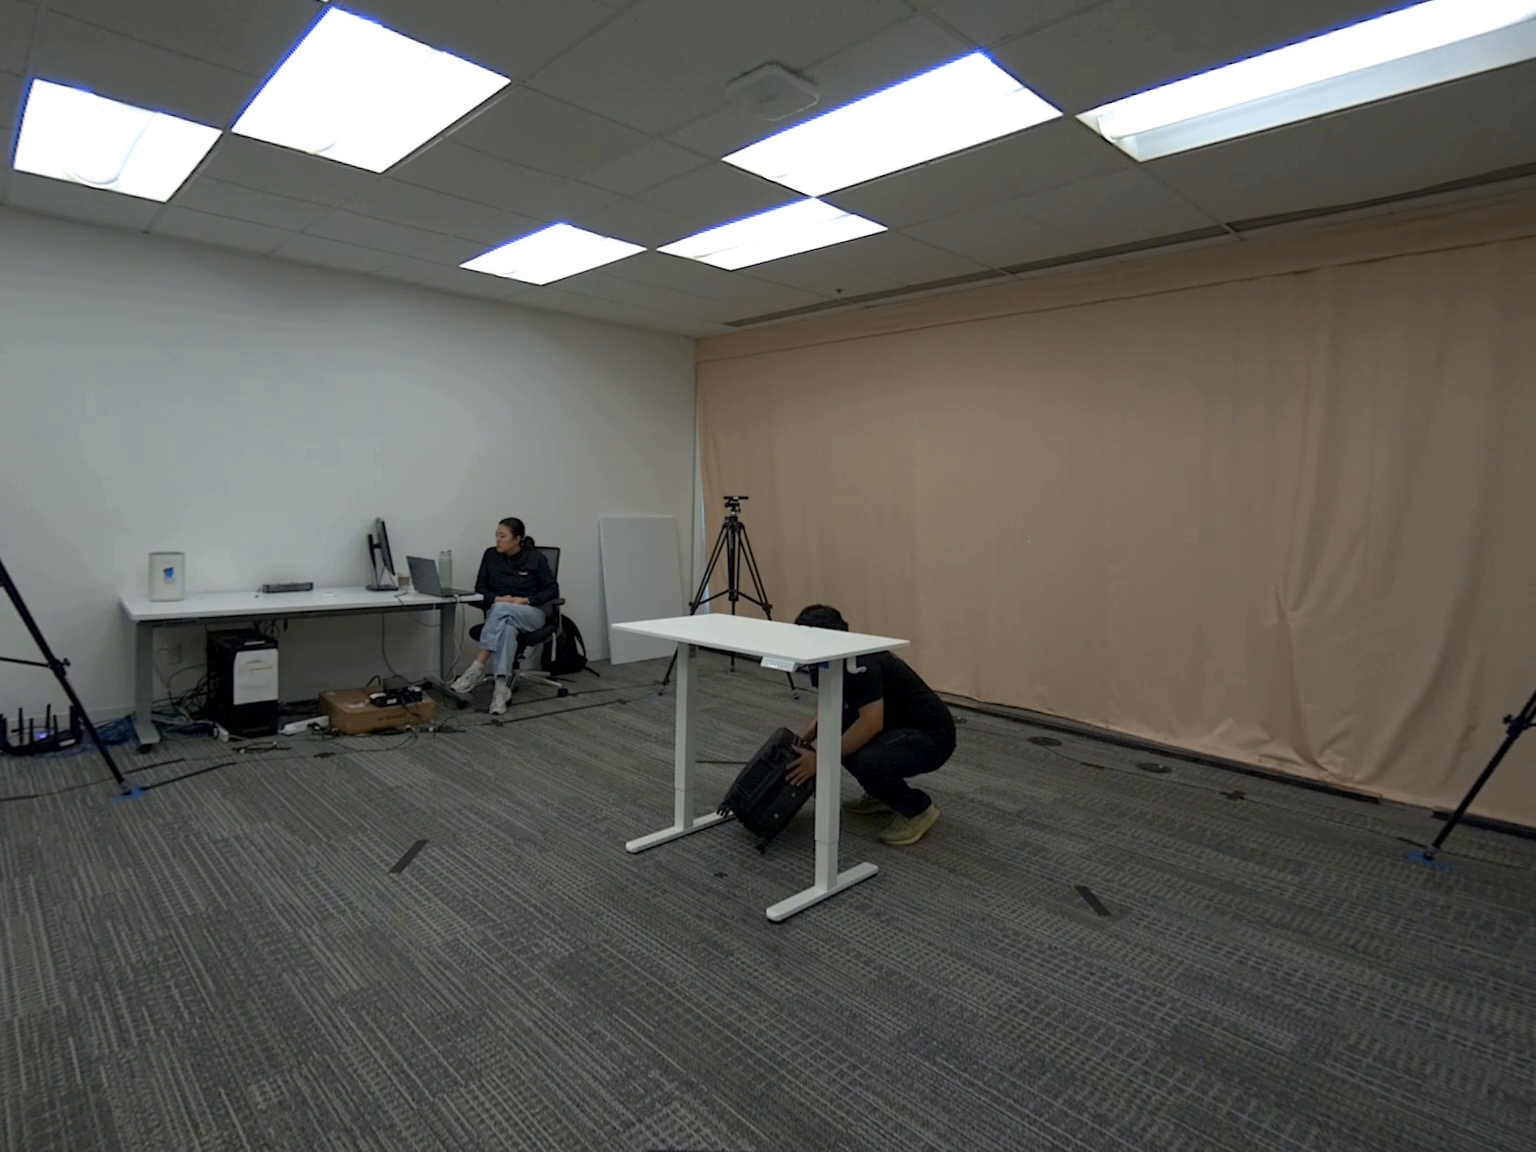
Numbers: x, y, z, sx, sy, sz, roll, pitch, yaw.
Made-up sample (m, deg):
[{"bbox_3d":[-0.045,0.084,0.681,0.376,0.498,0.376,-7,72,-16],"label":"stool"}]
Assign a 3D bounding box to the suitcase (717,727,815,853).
[{"bbox_3d":[0.032,0.851,3.503,0.250,0.375,0.546,40,3,4],"label":"suitcase"}]
